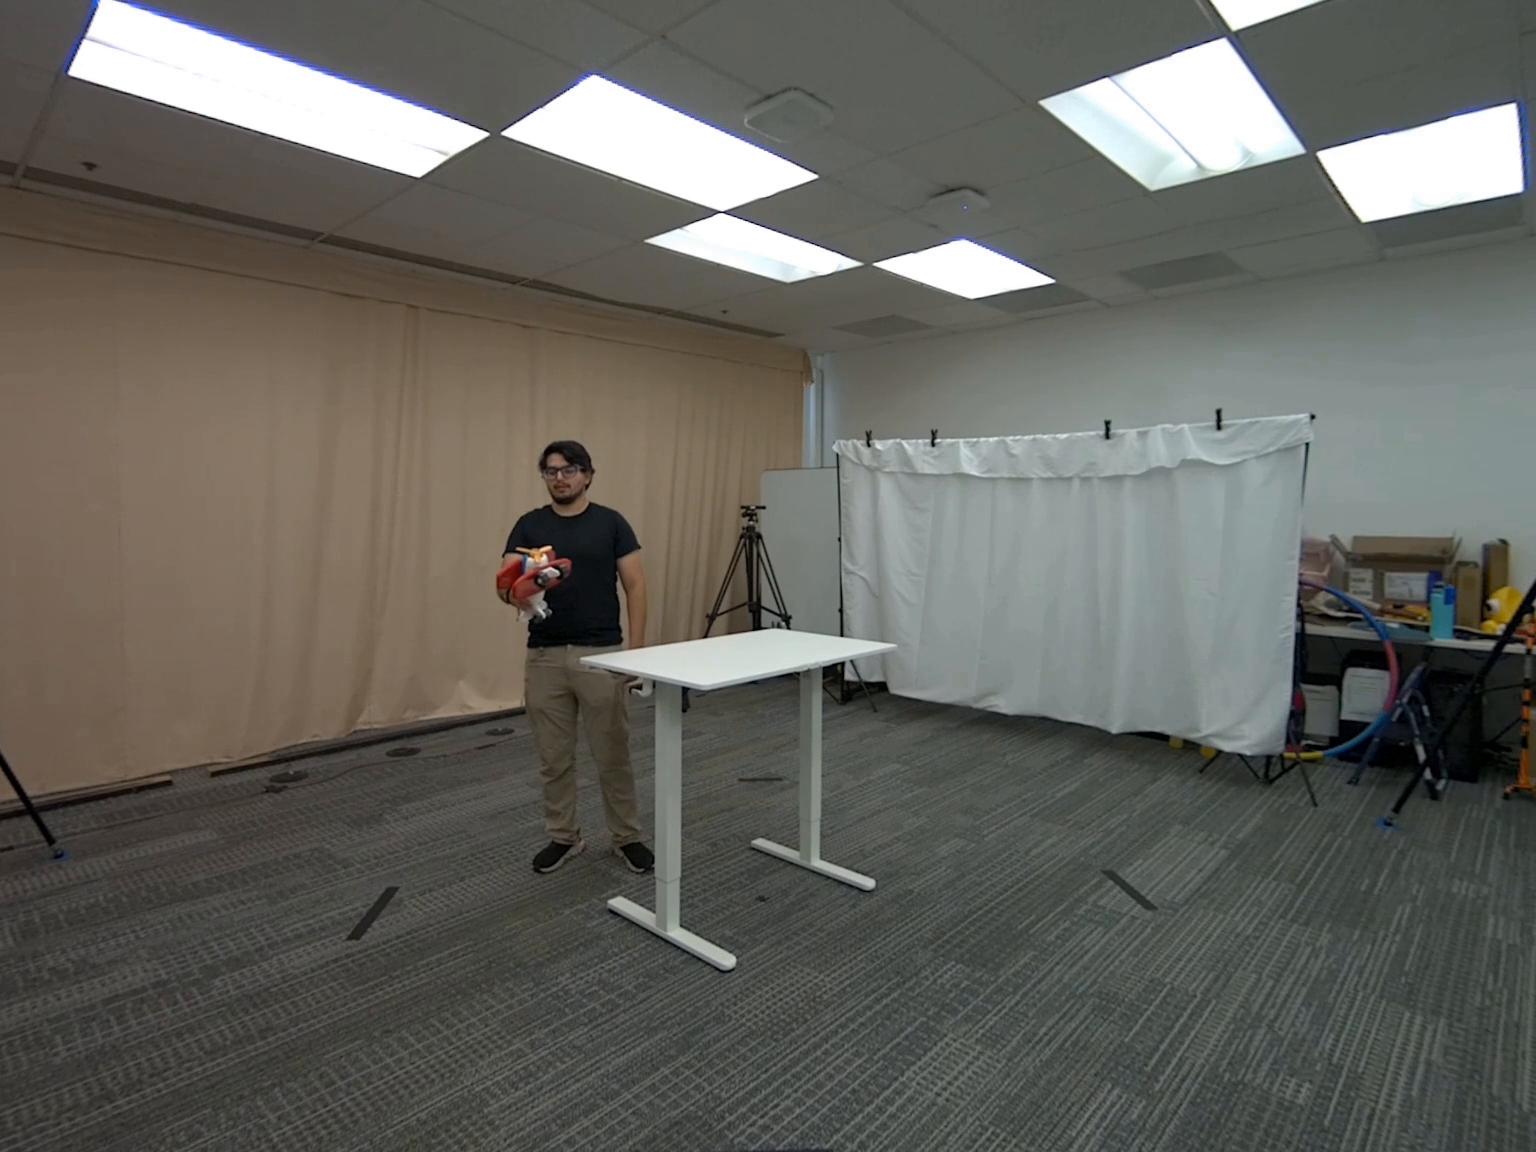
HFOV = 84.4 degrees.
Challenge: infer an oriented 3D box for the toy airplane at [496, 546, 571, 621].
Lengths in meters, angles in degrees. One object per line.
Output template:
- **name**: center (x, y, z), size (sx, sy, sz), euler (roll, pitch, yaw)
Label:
- **toy airplane**: center (-0.774, 0.034, 2.811), size (0.160, 0.259, 0.245), euler (39, 10, 19)
